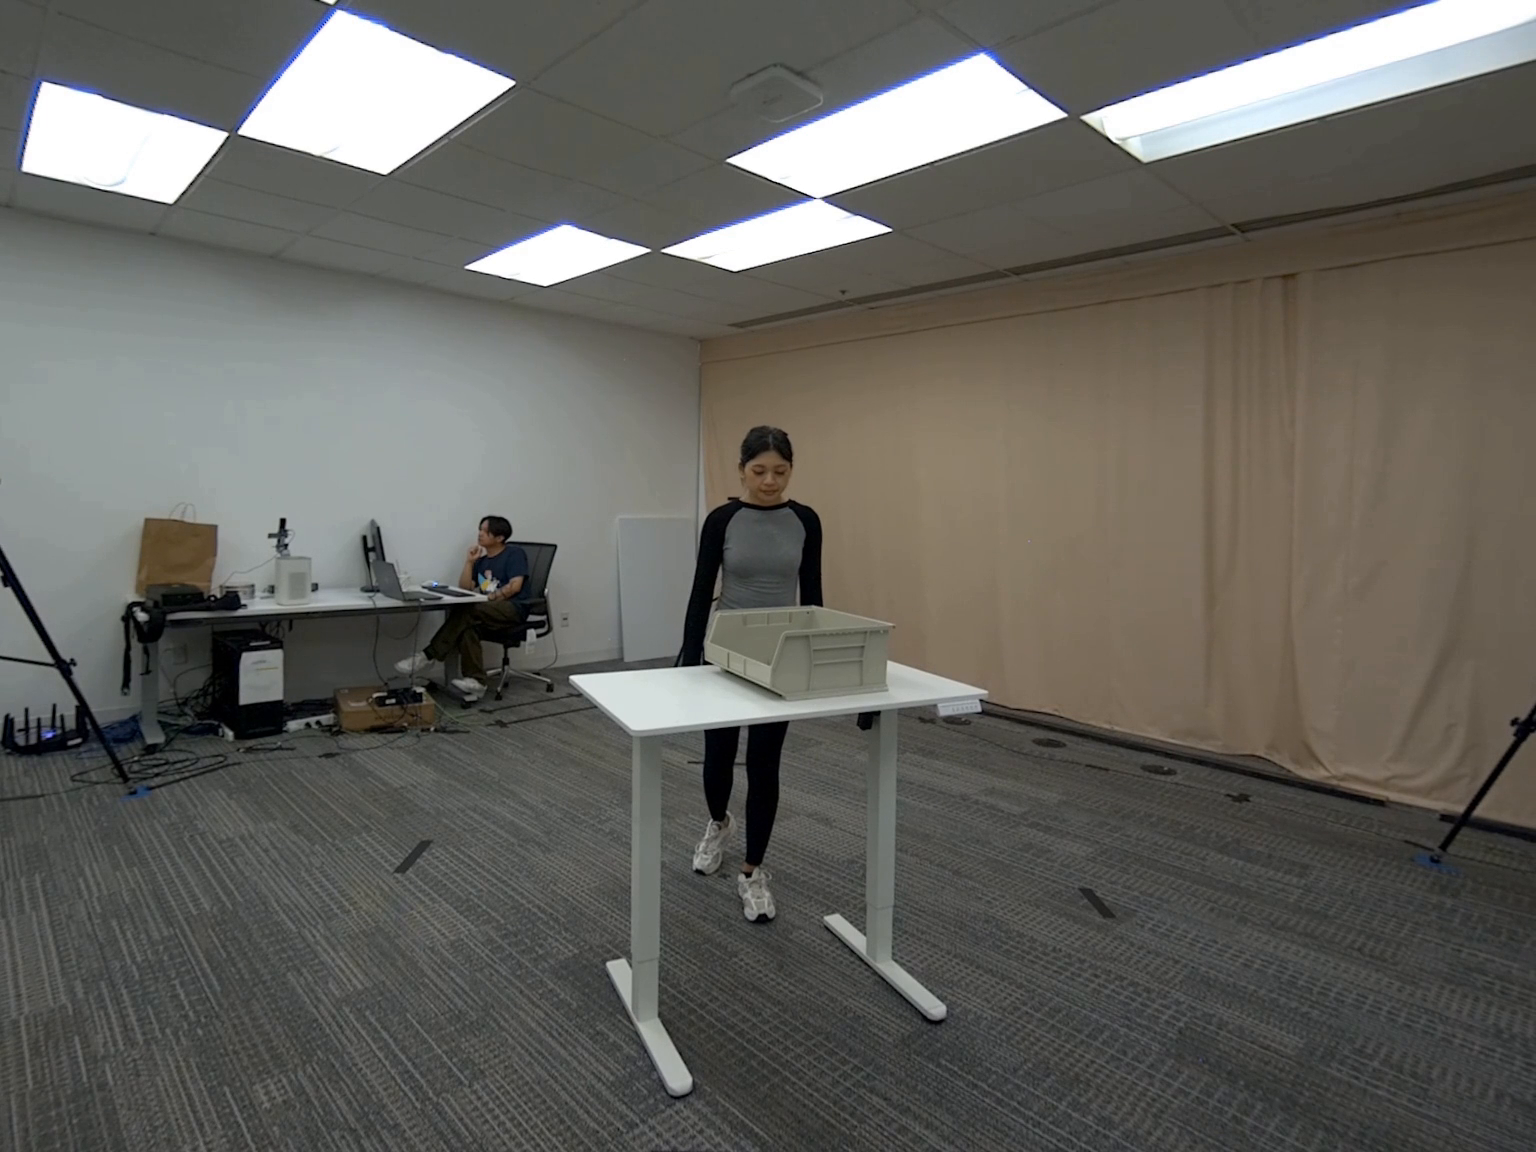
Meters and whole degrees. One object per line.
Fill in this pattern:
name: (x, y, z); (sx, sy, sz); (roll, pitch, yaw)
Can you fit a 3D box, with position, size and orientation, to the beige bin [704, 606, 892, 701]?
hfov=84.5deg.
beige bin: (0.069, 0.214, 2.359); (0.370, 0.188, 0.431); (-1, 5, -27)
